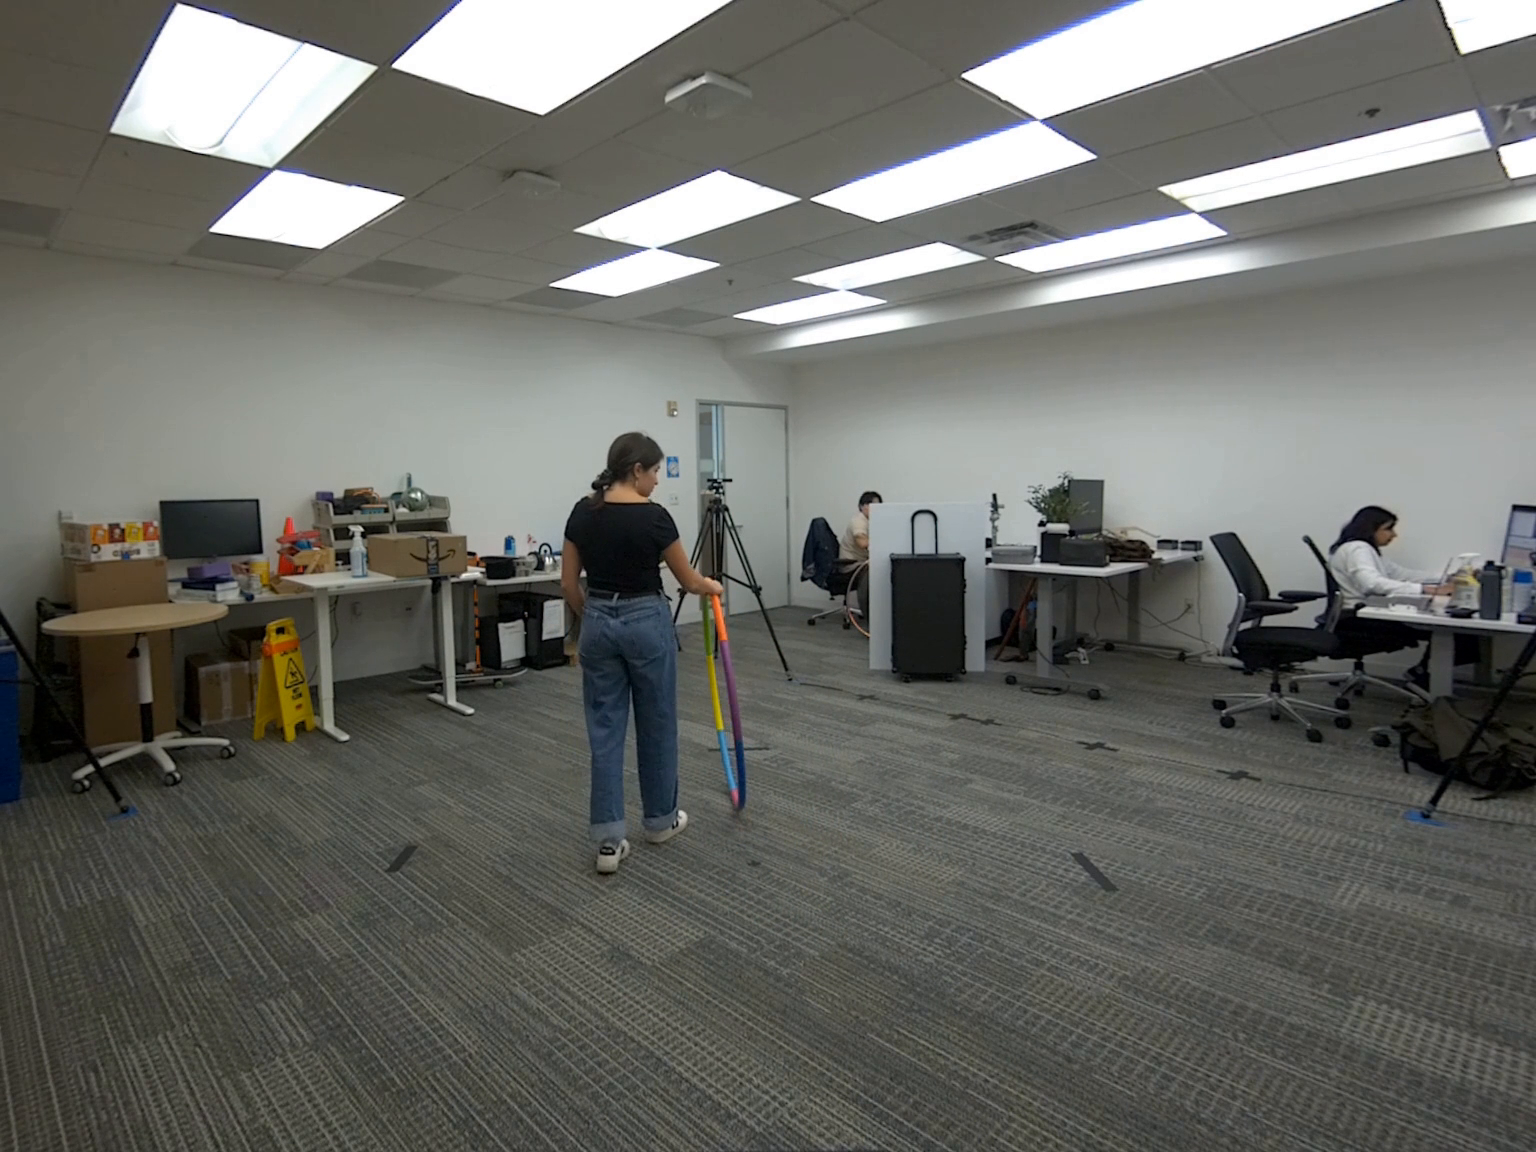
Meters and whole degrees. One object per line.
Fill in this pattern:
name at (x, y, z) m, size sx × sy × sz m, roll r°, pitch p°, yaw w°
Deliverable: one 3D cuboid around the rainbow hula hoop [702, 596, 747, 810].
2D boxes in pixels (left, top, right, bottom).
rainbow hula hoop at (-0.187, 0.500, 3.683) m, size 0.035 × 0.974 × 0.991 m, roll -6°, pitch 5°, yaw -10°
